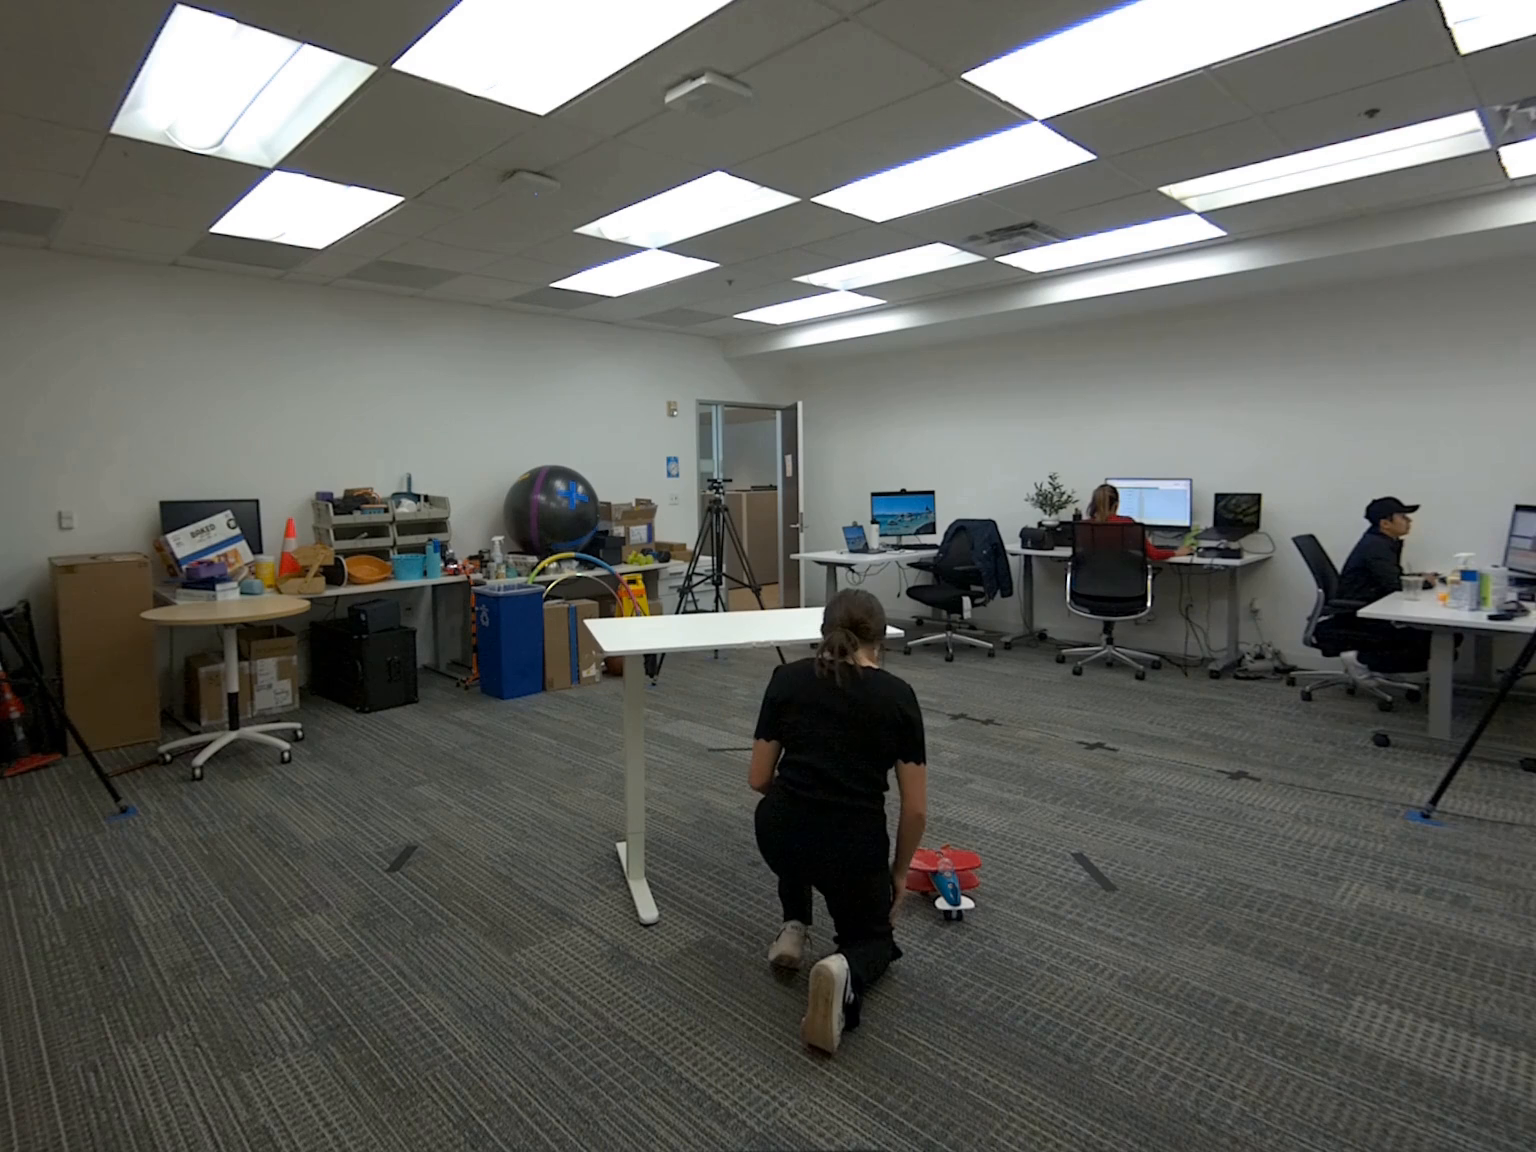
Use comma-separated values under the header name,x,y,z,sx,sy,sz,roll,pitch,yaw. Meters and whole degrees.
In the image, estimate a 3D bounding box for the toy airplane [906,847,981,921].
name,x,y,z,sx,sy,sz,roll,pitch,yaw
toy airplane,0.600,0.999,2.778,0.245,0.156,0.266,-3,5,-31
